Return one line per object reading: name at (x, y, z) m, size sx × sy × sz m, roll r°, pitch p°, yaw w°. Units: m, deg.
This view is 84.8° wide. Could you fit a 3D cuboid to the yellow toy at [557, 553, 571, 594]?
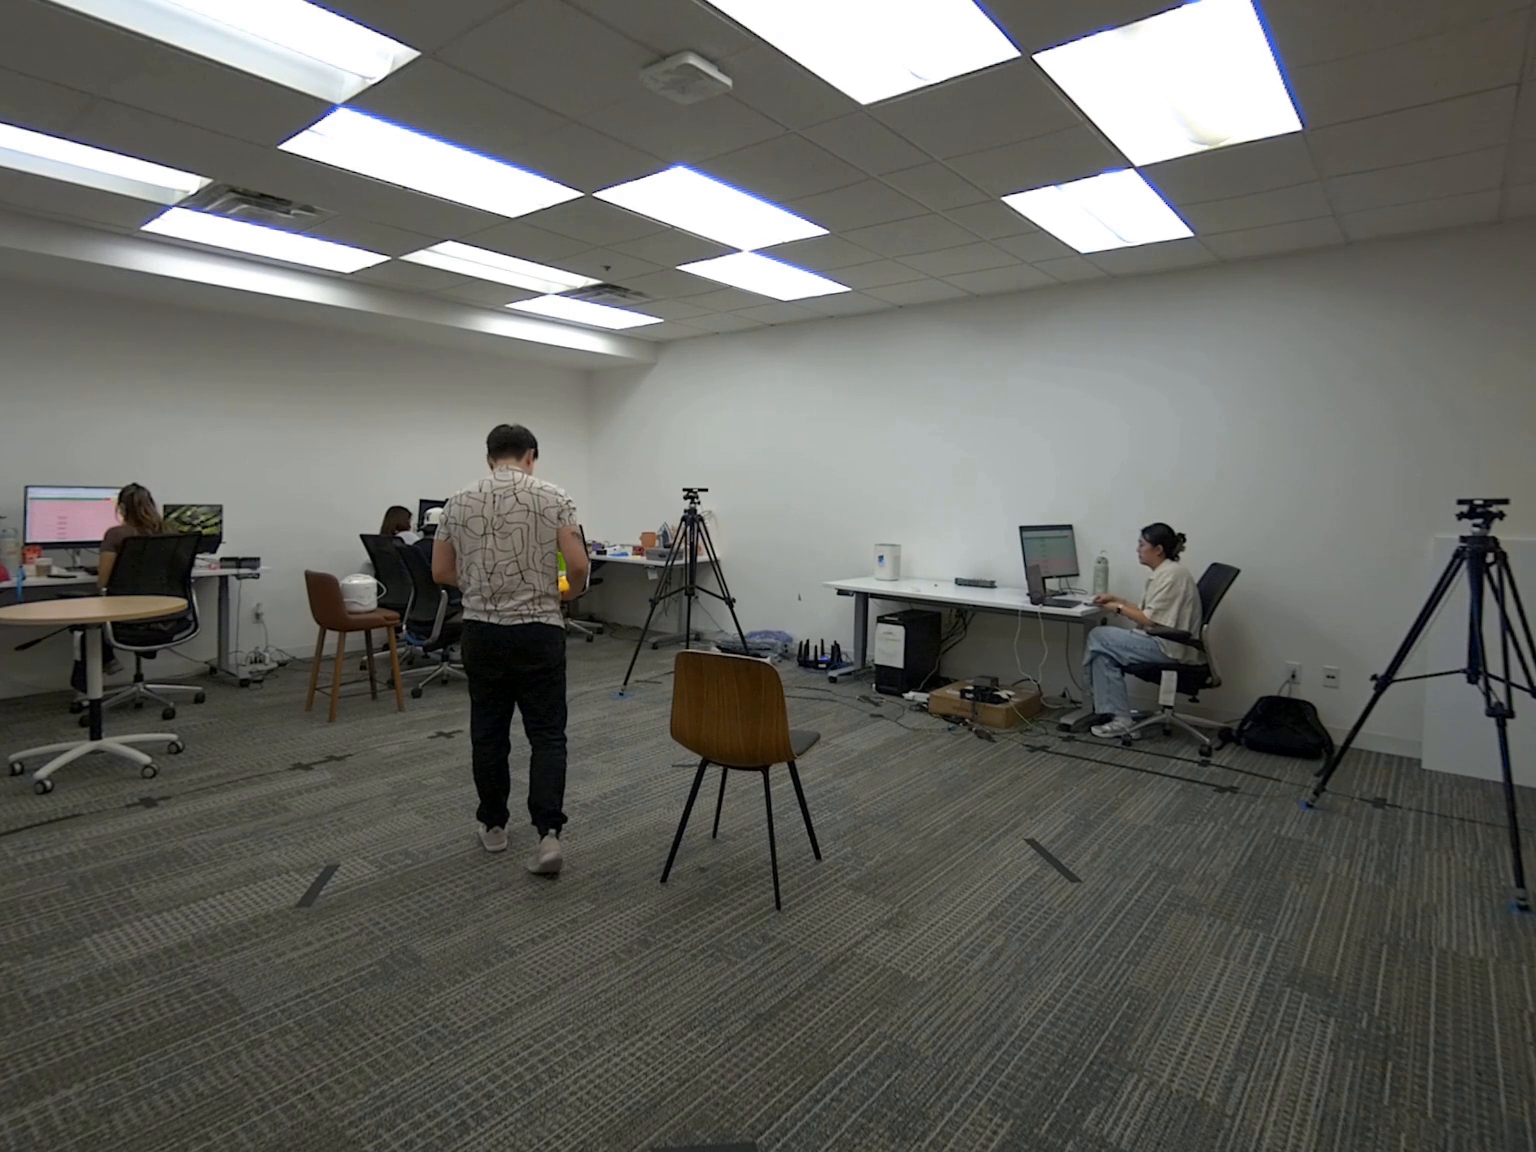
yellow toy at (-0.915, -0.031, 3.432) m, size 0.208 × 0.232 × 0.189 m, roll -19°, pitch -3°, yaw 25°
